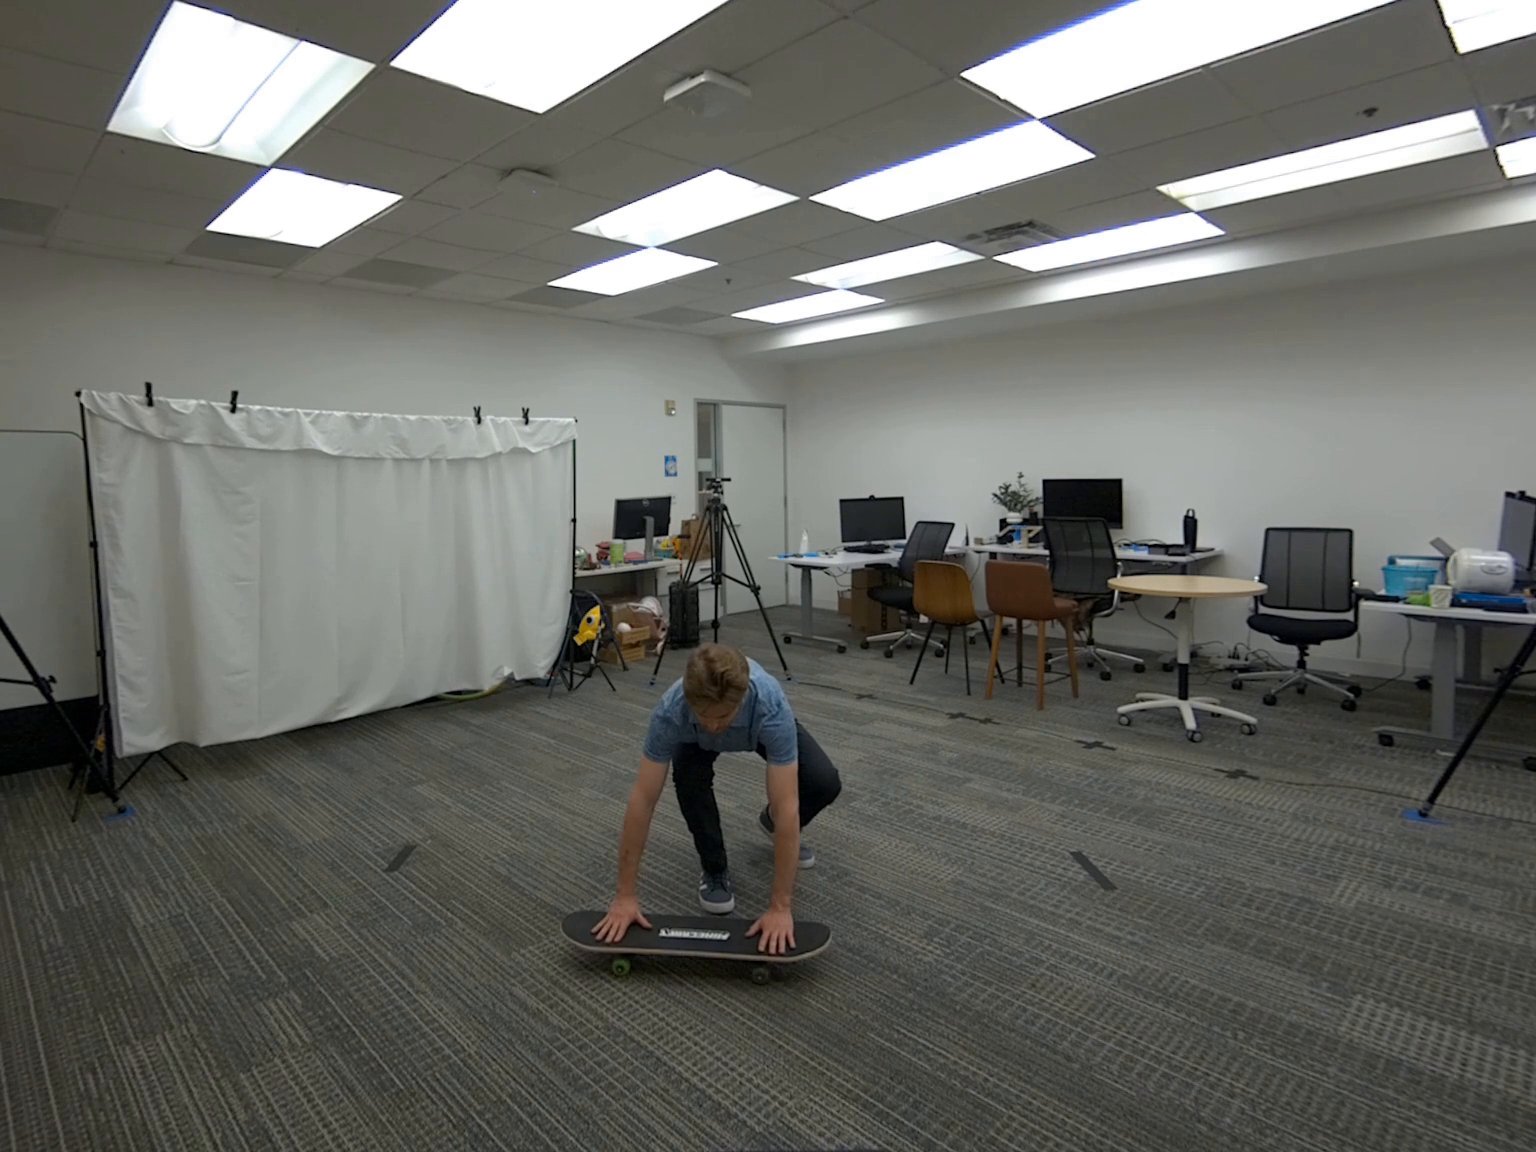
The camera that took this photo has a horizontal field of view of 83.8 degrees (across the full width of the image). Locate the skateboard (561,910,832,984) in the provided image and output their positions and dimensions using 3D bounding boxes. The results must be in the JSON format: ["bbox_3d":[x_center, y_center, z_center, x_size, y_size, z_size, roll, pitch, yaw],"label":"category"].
[{"bbox_3d":[-0.218,1.060,2.470,0.792,0.110,0.193,0,8,8],"label":"skateboard"}]
